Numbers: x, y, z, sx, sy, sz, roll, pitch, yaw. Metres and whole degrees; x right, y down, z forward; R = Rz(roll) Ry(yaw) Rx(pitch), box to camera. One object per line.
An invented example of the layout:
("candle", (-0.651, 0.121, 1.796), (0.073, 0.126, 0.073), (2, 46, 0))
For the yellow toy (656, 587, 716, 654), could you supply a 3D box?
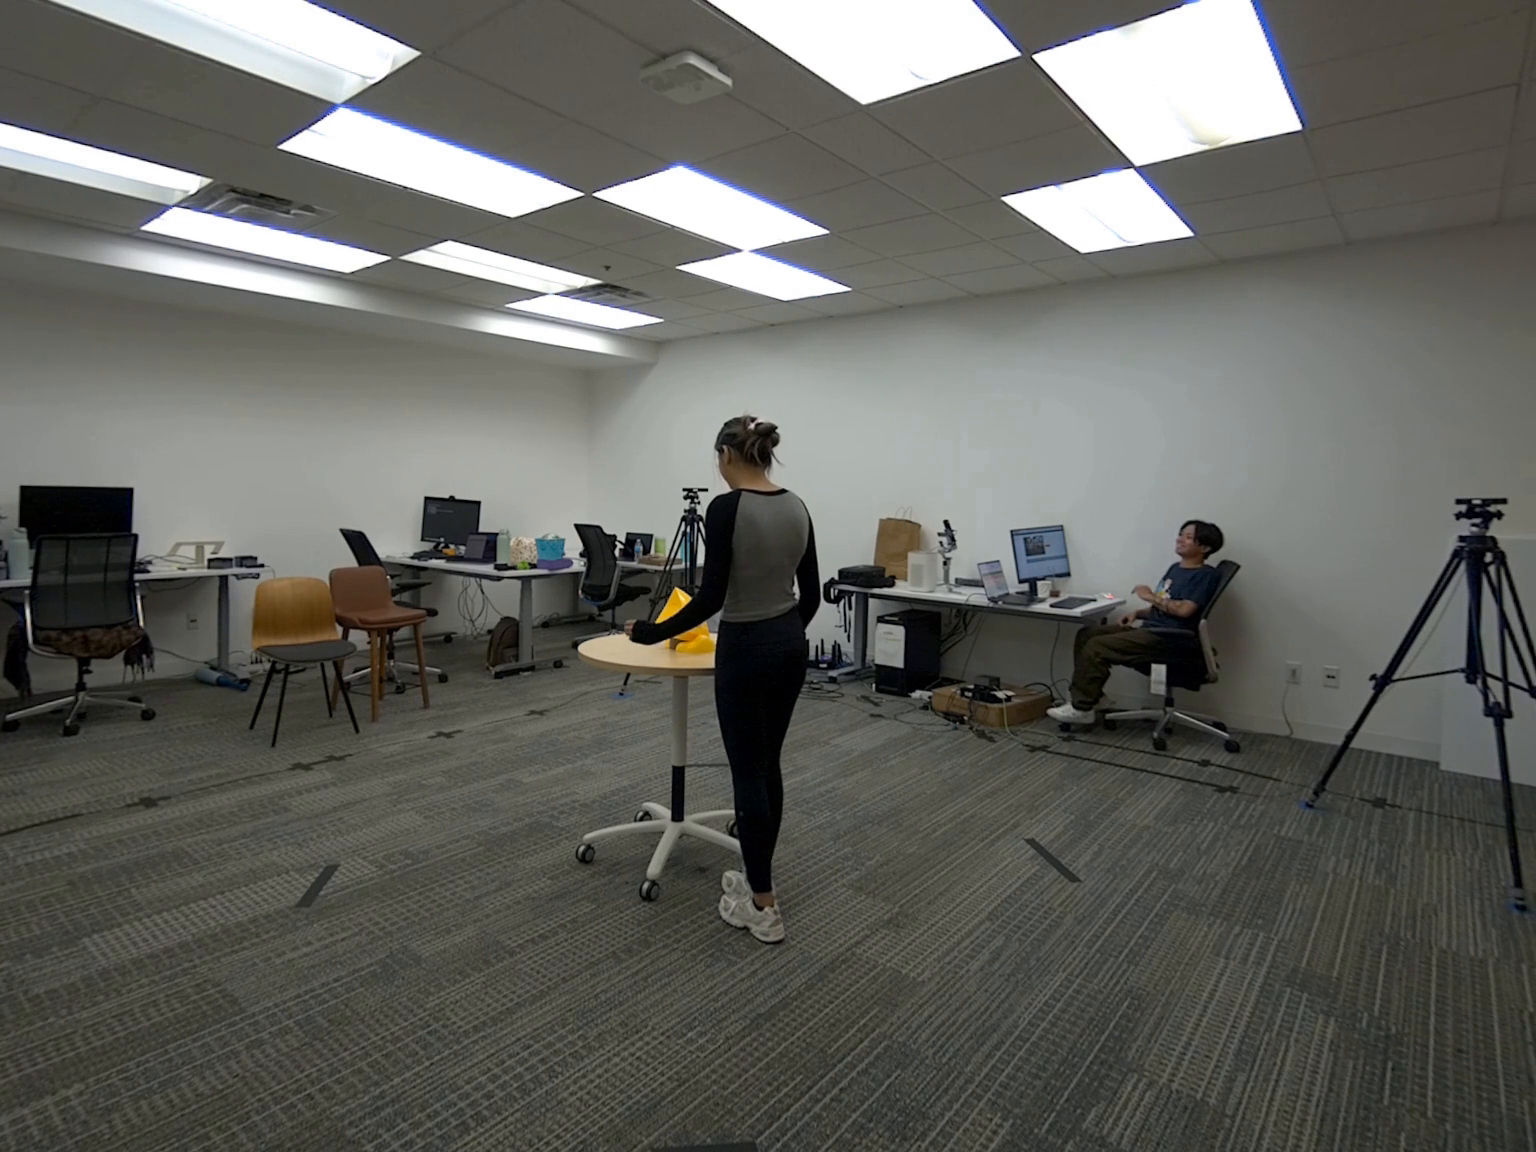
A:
("yellow toy", (-0.308, 0.153, 3.182), (0.187, 0.230, 0.211), (-1, 3, -36))
